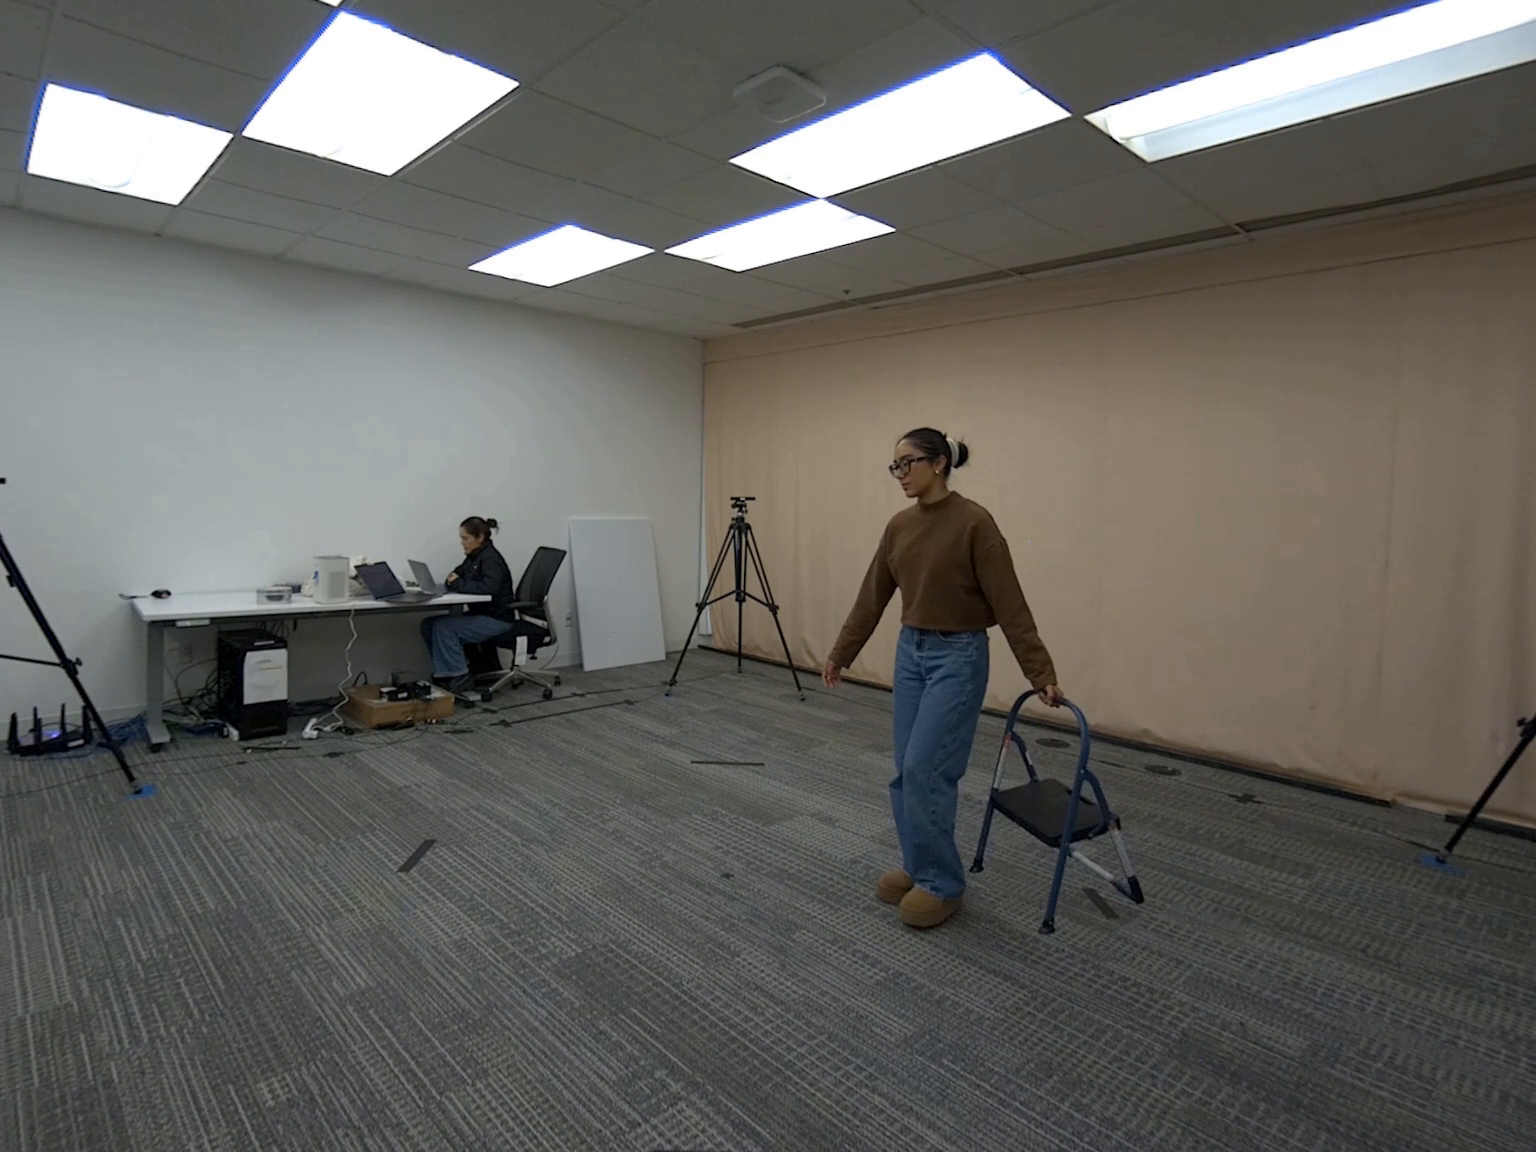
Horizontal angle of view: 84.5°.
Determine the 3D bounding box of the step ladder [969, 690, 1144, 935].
[{"bbox_3d":[0.857,0.693,2.604,0.346,0.602,0.437,-10,9,-14],"label":"step ladder"}]
